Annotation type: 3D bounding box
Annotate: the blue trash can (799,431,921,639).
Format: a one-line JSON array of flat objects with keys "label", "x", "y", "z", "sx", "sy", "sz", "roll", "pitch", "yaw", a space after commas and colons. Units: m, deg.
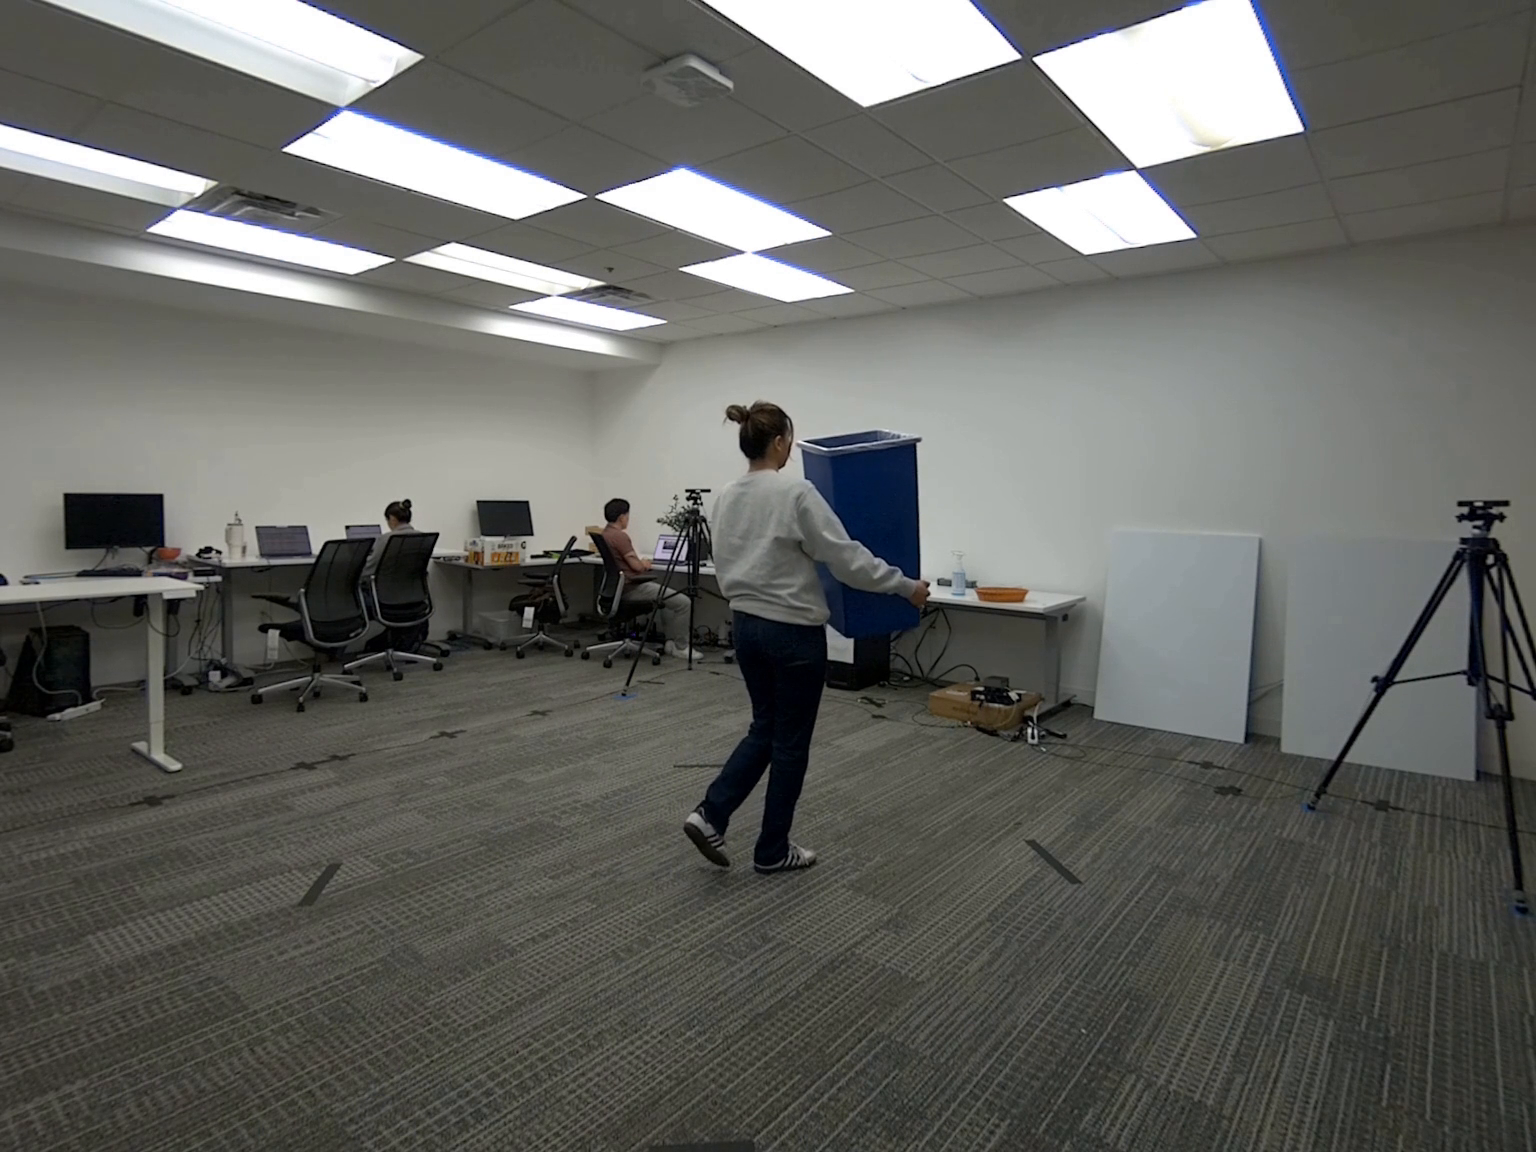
[{"label": "blue trash can", "x": 0.347, "y": -0.173, "z": 3.211, "sx": 0.370, "sy": 0.704, "sz": 0.387, "roll": -8, "pitch": 13, "yaw": -13}]
